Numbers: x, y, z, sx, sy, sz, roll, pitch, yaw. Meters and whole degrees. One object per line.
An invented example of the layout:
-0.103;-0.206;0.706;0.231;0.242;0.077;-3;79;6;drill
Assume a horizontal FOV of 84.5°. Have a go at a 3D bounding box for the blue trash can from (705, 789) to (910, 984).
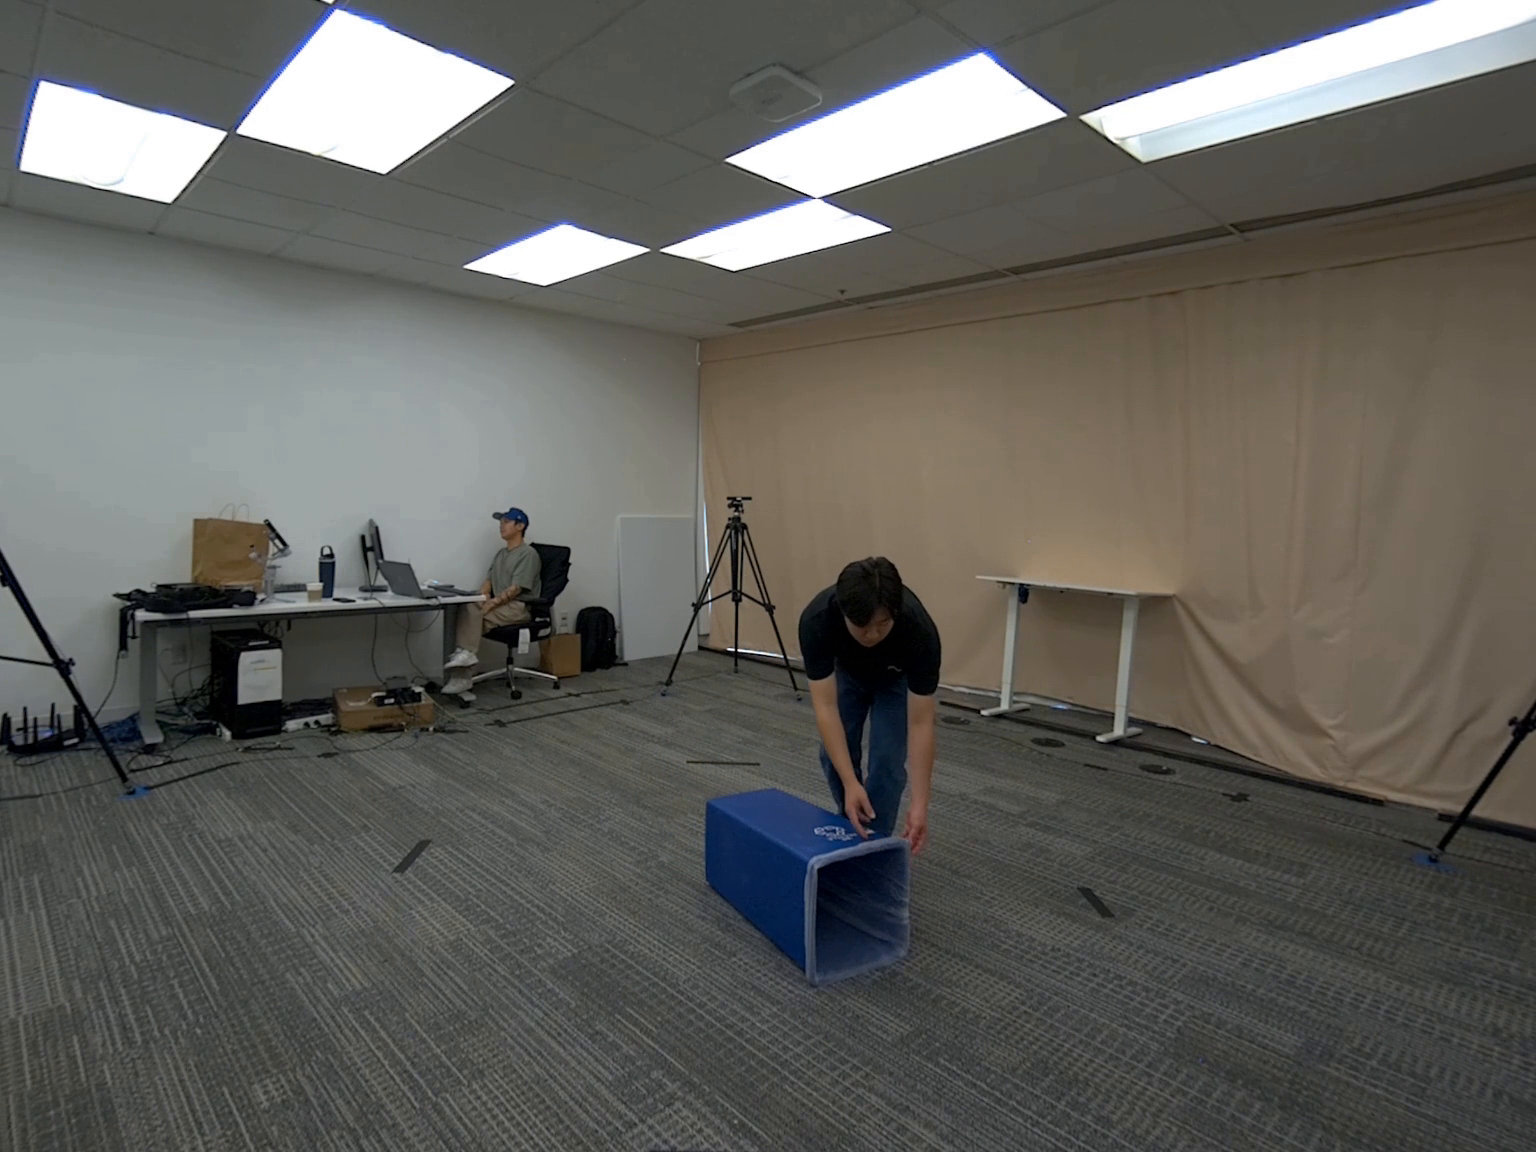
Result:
0.082;0.976;2.781;0.366;0.378;0.729;-2;3;-32;blue trash can
